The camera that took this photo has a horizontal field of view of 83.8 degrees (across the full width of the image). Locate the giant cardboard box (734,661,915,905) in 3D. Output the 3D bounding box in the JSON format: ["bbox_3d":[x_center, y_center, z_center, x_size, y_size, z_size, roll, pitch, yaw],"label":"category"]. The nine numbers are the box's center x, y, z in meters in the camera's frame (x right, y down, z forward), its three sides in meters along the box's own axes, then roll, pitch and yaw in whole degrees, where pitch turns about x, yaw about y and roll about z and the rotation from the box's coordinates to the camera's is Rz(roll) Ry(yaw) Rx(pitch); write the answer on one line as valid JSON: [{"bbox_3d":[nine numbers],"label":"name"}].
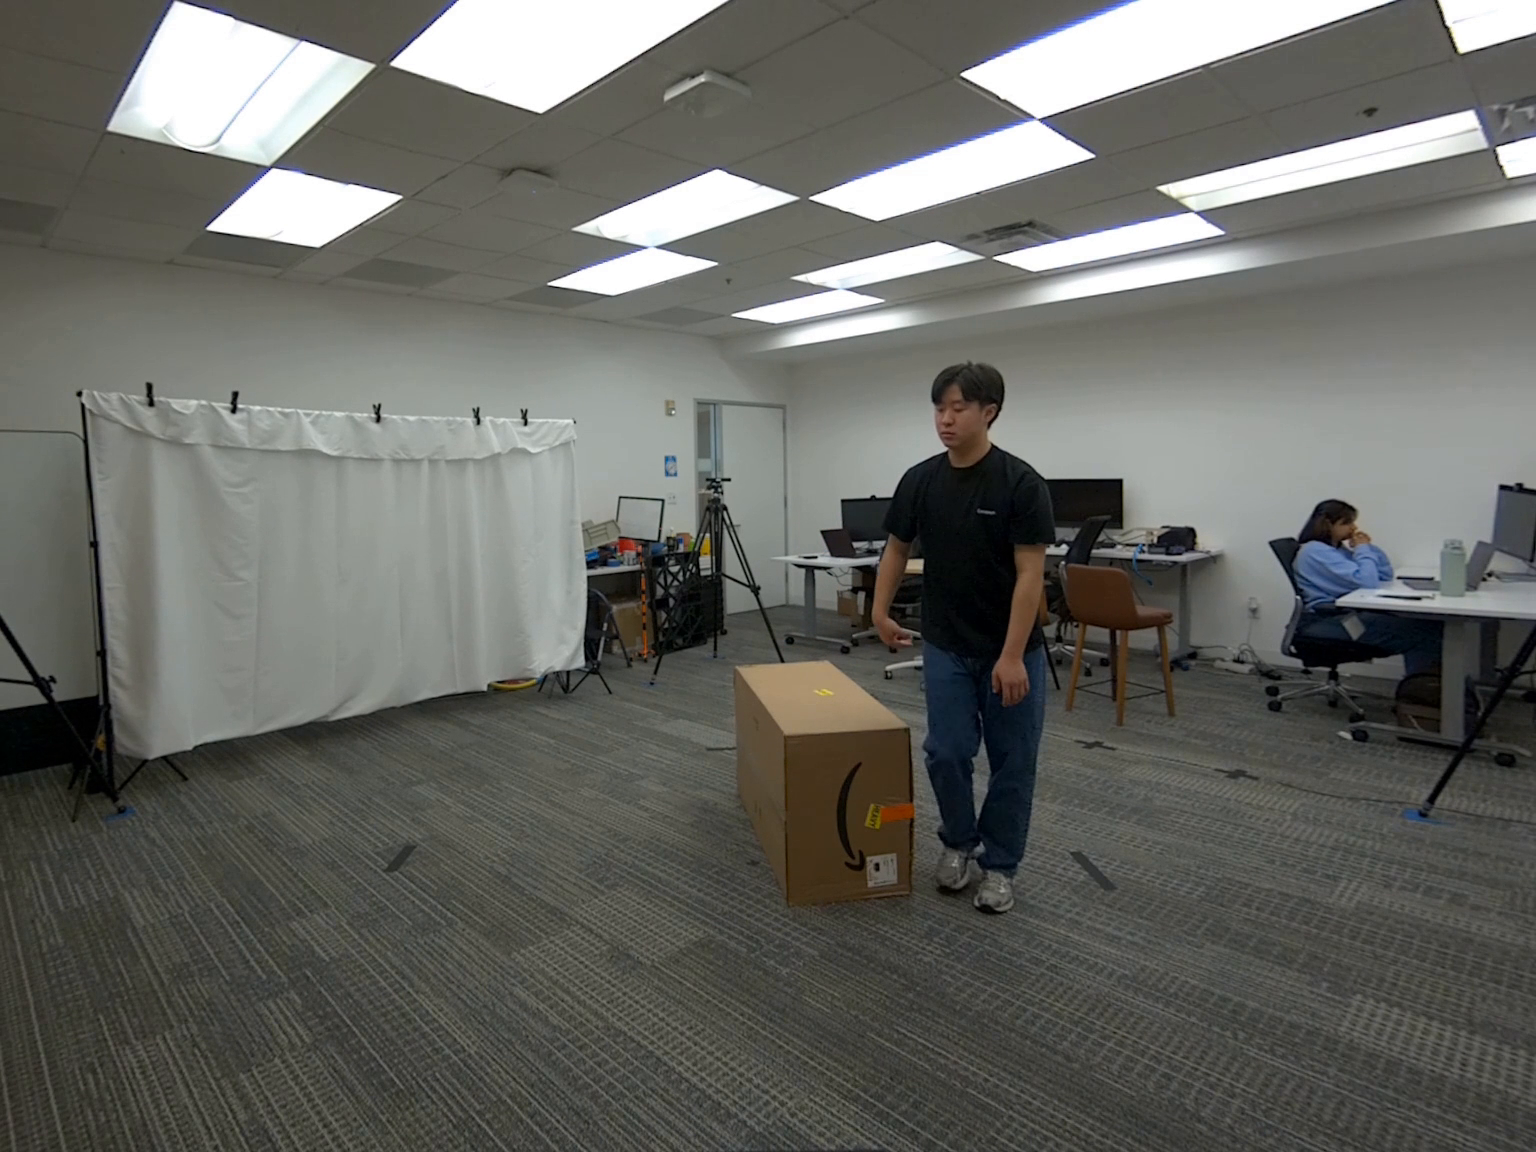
[{"bbox_3d":[0.170,0.728,3.299,0.442,0.581,1.042,-1,6,-11],"label":"giant cardboard box"}]
